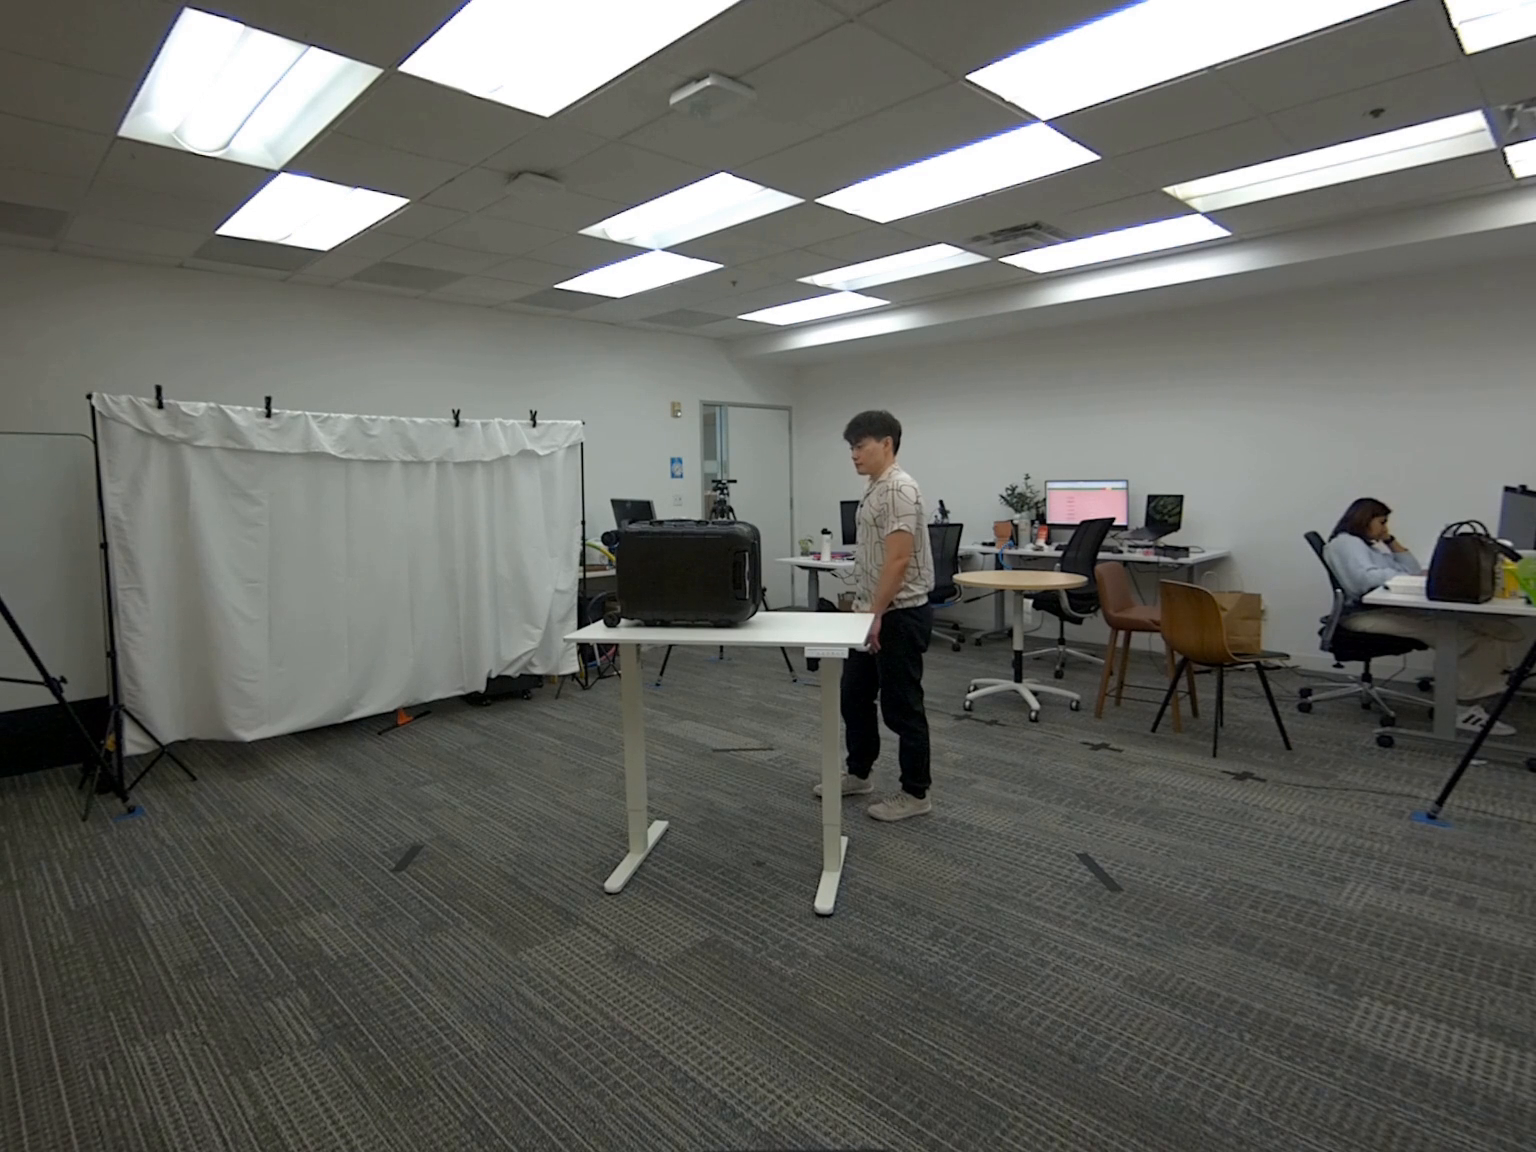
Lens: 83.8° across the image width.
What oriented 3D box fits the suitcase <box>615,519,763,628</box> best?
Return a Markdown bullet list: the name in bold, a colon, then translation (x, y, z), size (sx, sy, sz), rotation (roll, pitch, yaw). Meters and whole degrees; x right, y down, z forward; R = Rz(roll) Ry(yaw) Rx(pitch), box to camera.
- **suitcase**: translation (-0.293, -0.020, 3.078), size (0.557, 0.374, 0.246), rotation (-1, 4, 14)
